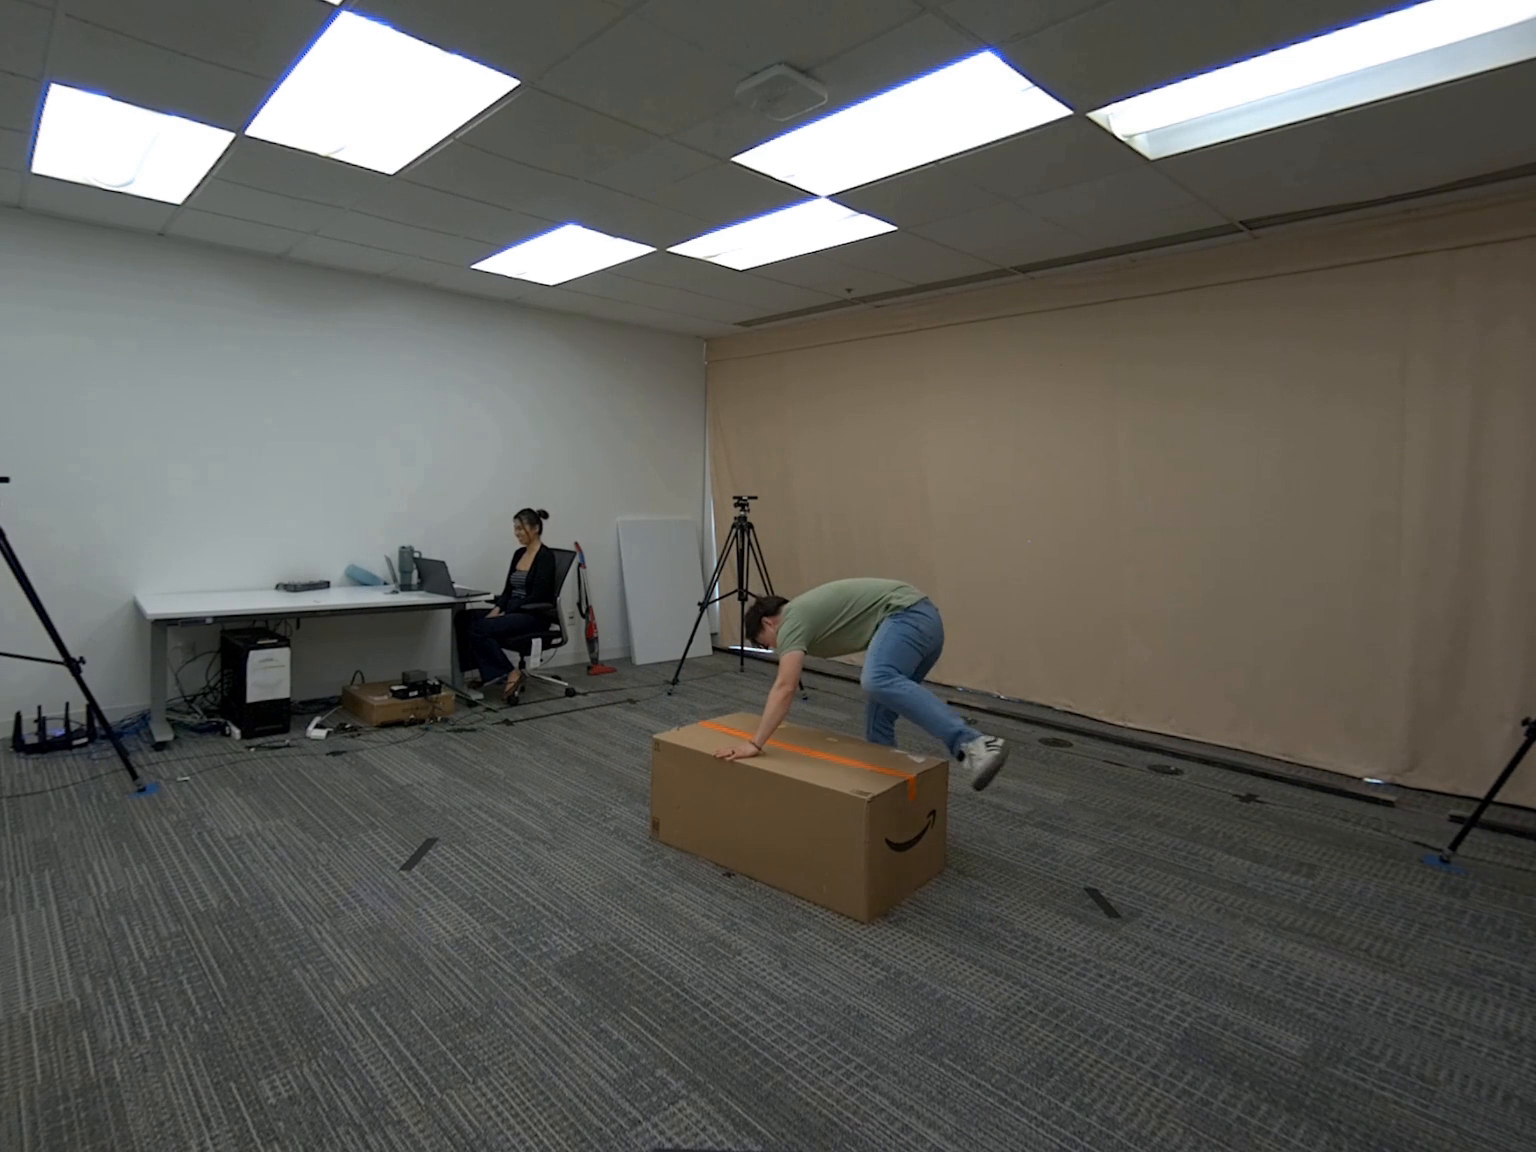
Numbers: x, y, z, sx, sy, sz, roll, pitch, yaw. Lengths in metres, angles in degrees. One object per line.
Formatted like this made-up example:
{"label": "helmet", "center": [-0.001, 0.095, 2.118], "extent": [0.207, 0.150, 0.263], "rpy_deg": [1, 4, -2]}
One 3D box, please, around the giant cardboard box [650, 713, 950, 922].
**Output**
{"label": "giant cardboard box", "center": [0.092, 0.881, 3.287], "extent": [1.051, 0.425, 0.564], "rpy_deg": [5, 5, 39]}
